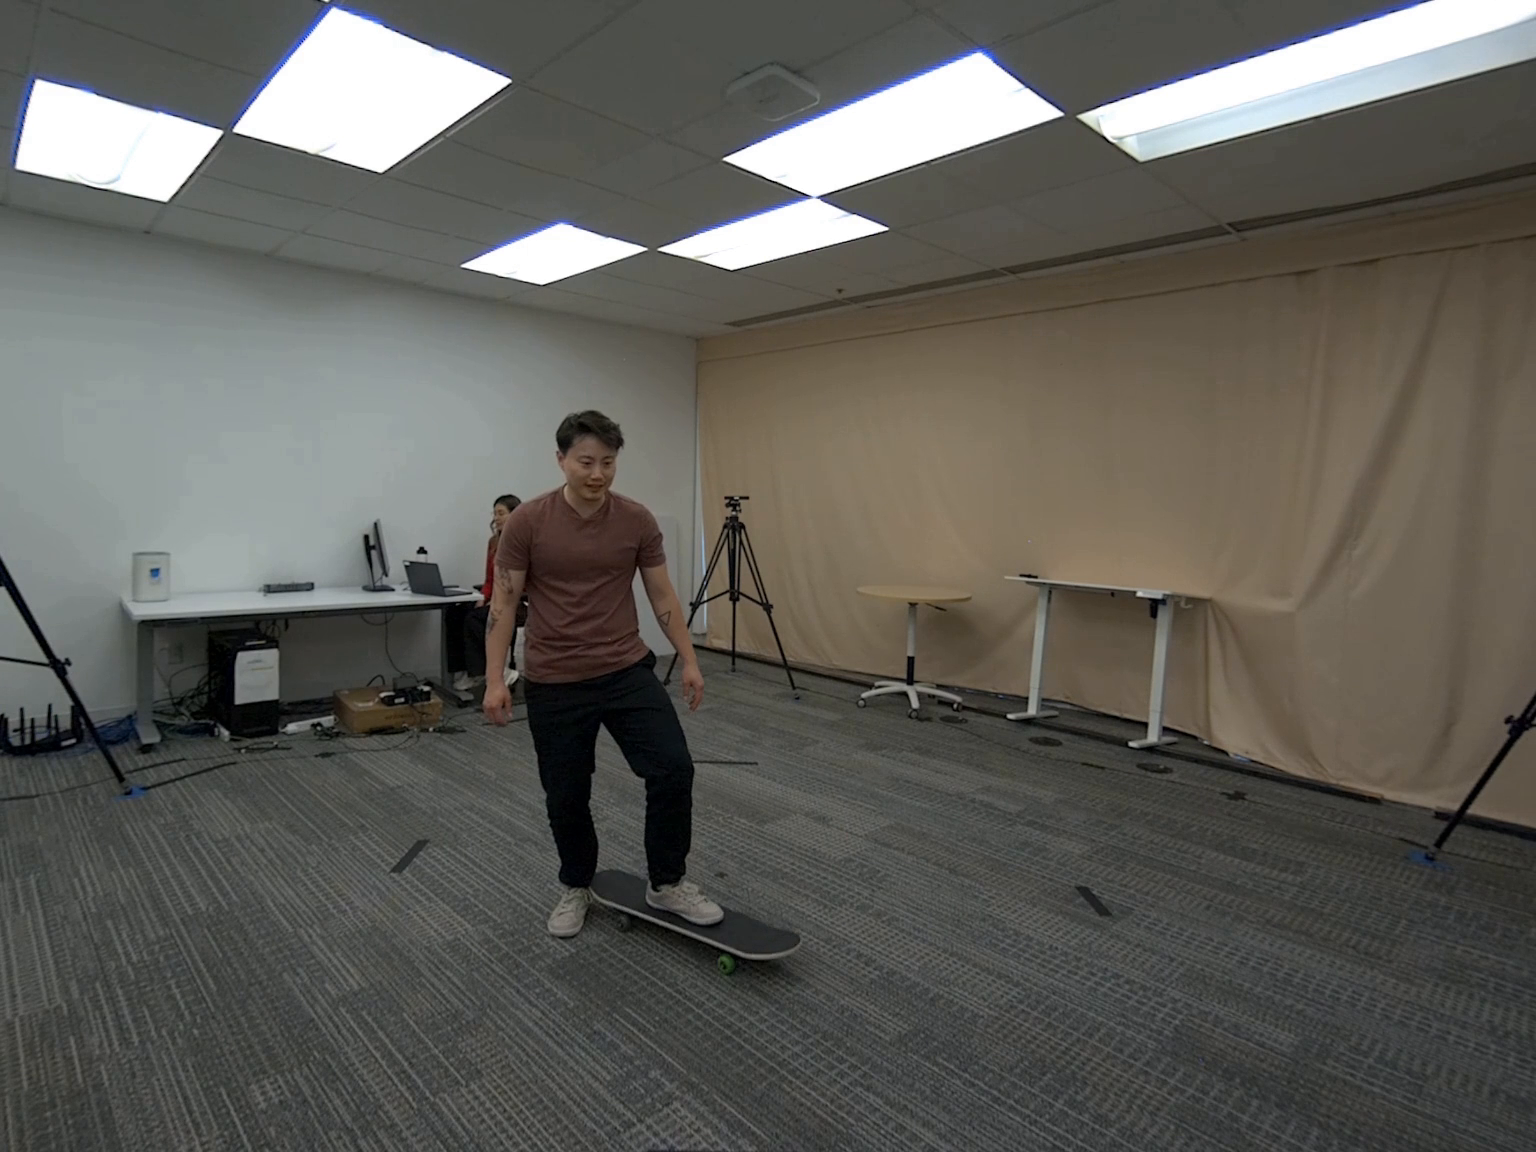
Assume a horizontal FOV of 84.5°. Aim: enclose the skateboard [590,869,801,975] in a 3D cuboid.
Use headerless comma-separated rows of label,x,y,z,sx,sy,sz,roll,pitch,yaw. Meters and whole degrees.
skateboard,-0.258,1.095,2.633,0.804,0.110,0.189,4,6,34
